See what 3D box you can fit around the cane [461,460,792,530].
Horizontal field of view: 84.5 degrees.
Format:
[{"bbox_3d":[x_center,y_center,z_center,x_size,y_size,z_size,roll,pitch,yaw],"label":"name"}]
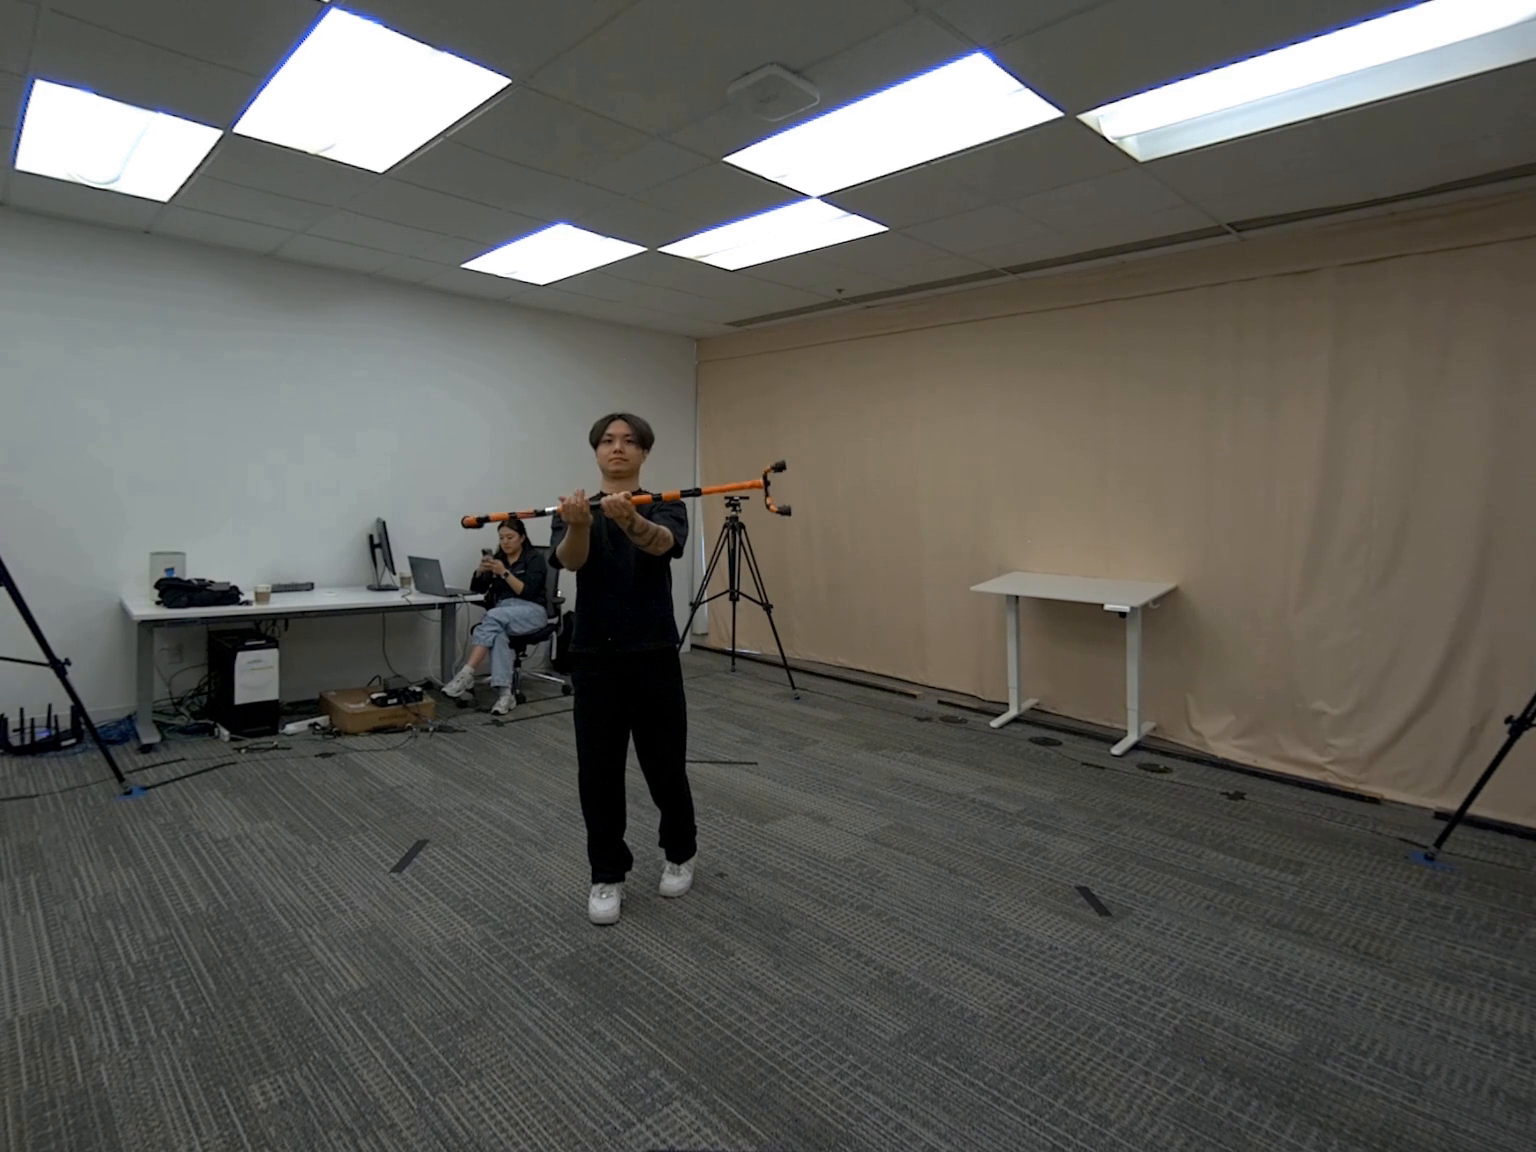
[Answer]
[{"bbox_3d":[-0.405,-0.185,2.338,0.908,0.151,0.206,-7,1,1],"label":"cane"}]
